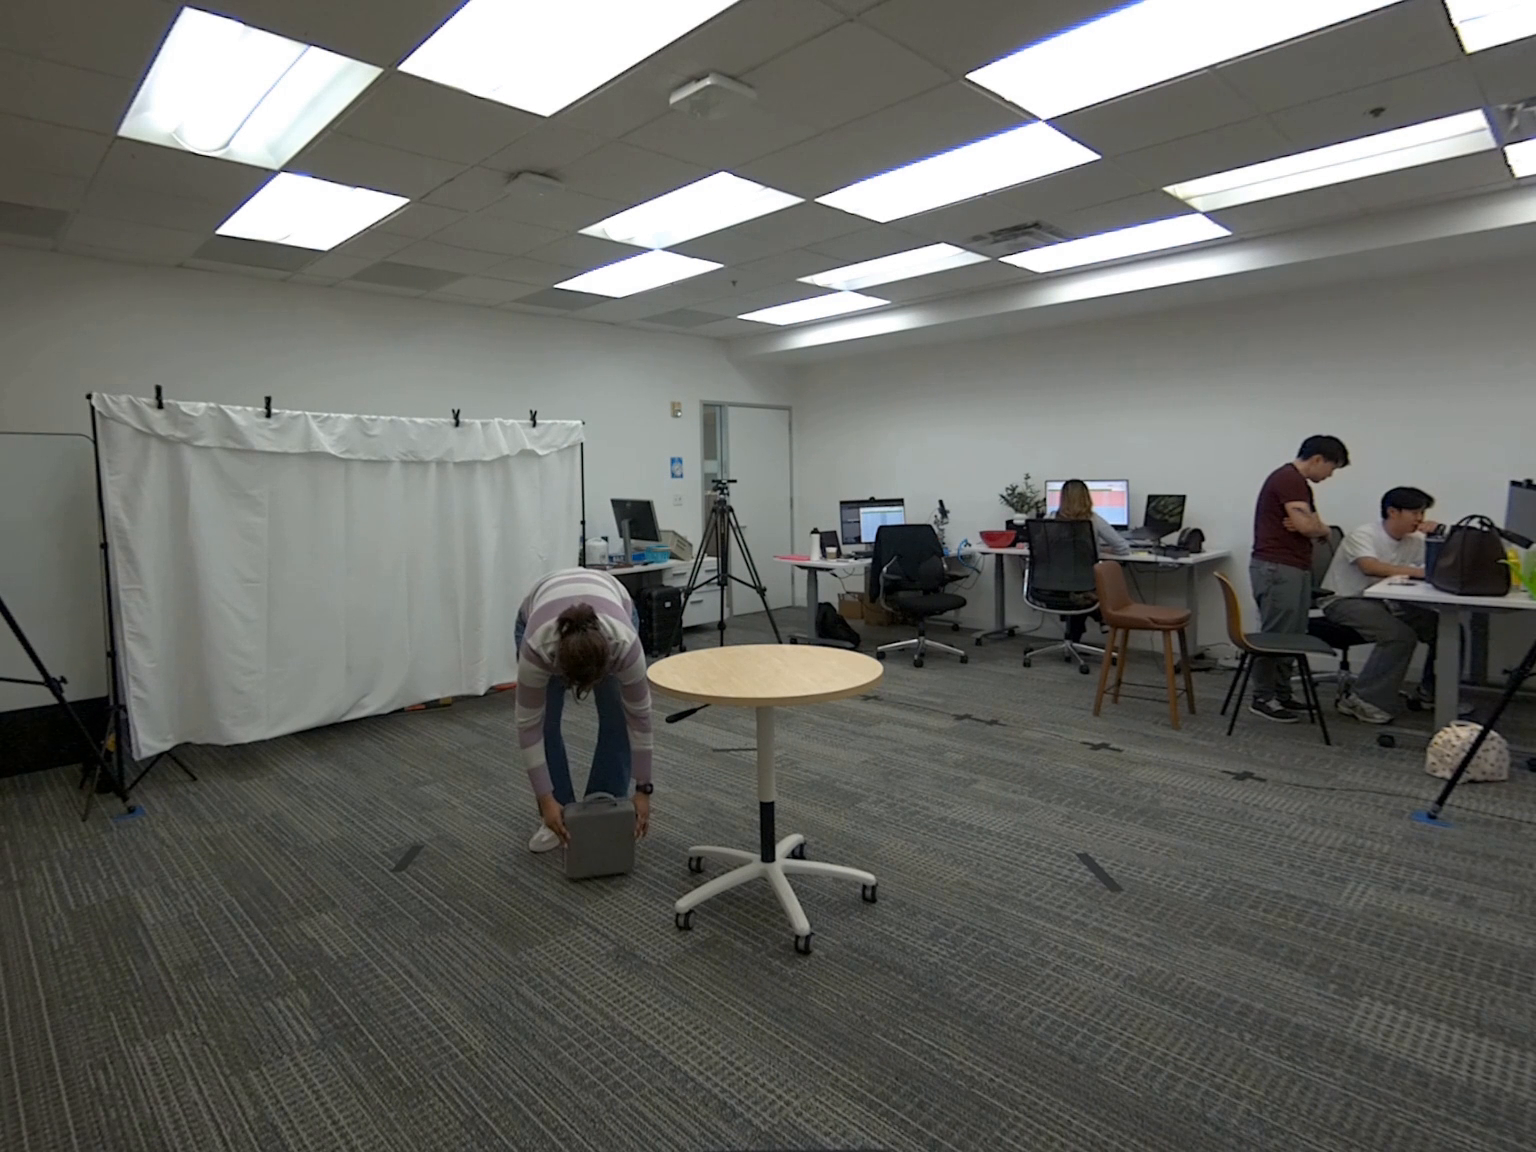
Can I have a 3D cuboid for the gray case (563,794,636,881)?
[{"bbox_3d":[-0.603,0.921,3.020,0.253,0.258,0.107,-3,11,-15],"label":"gray case"}]
